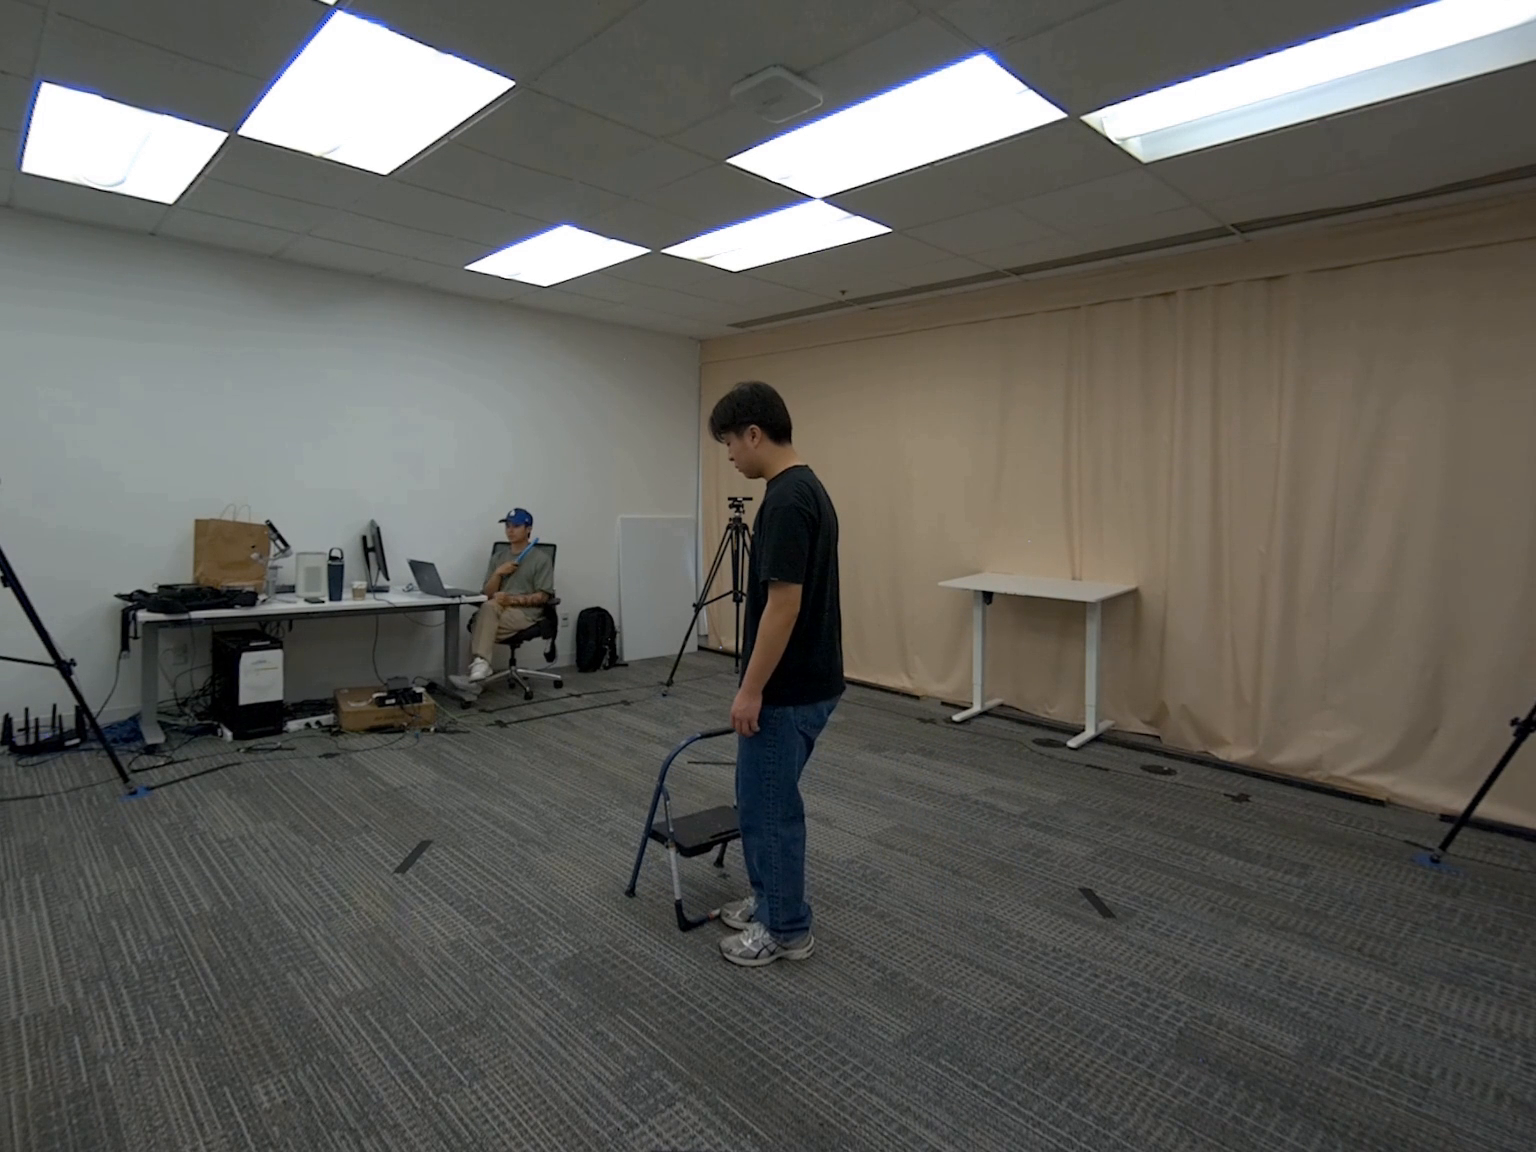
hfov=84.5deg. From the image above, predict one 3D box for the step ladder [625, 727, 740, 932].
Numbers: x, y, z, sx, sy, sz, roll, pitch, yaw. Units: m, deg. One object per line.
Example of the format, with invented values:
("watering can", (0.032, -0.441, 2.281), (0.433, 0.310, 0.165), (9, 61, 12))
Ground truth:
("step ladder", (-0.232, 0.815, 2.931), (0.421, 0.604, 0.358), (-3, 5, -40))
